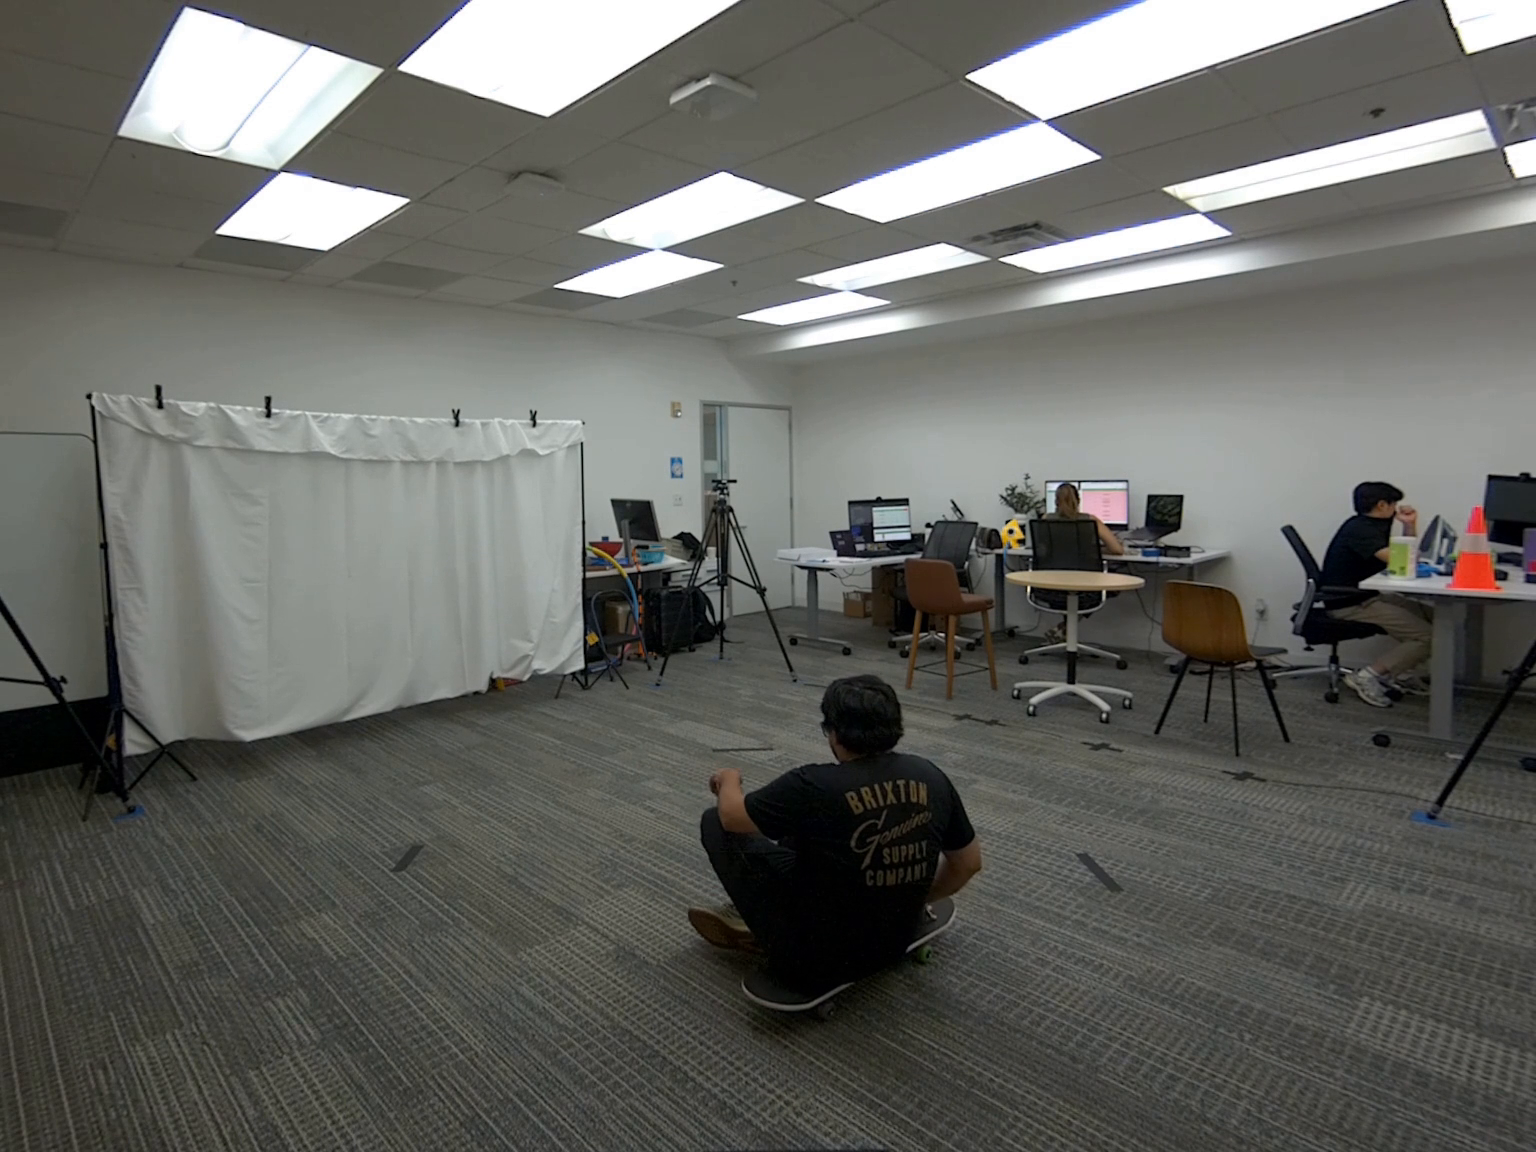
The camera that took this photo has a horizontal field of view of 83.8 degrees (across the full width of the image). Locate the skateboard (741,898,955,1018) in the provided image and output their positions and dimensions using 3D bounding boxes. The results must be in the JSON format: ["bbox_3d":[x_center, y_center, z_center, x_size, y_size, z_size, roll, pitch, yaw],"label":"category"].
[{"bbox_3d":[0.244,1.062,2.412,0.766,0.110,0.199,-6,9,-35],"label":"skateboard"}]
